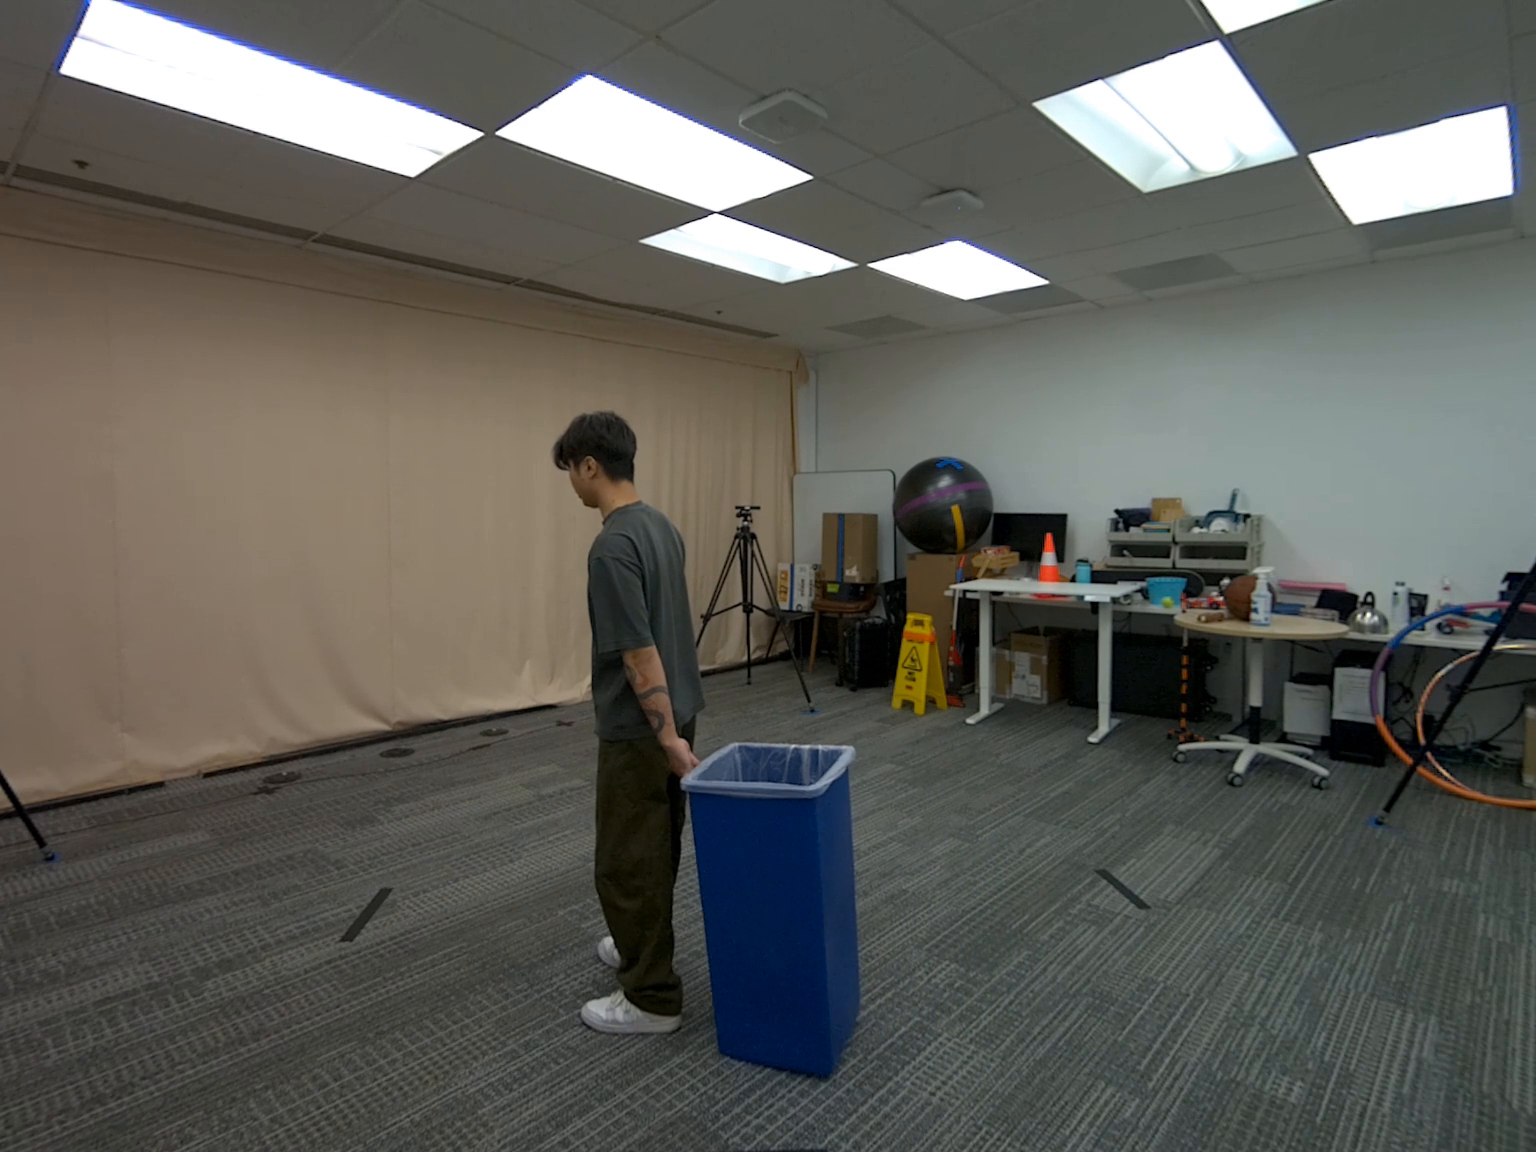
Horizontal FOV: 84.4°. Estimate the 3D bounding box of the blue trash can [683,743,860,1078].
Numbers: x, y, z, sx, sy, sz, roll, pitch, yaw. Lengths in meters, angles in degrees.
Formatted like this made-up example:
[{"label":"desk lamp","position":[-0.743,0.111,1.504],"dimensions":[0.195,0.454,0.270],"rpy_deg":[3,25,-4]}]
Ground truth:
[{"label":"blue trash can","position":[0.040,0.844,2.194],"dimensions":[0.386,0.713,0.366],"rpy_deg":[-3,1,21]}]
